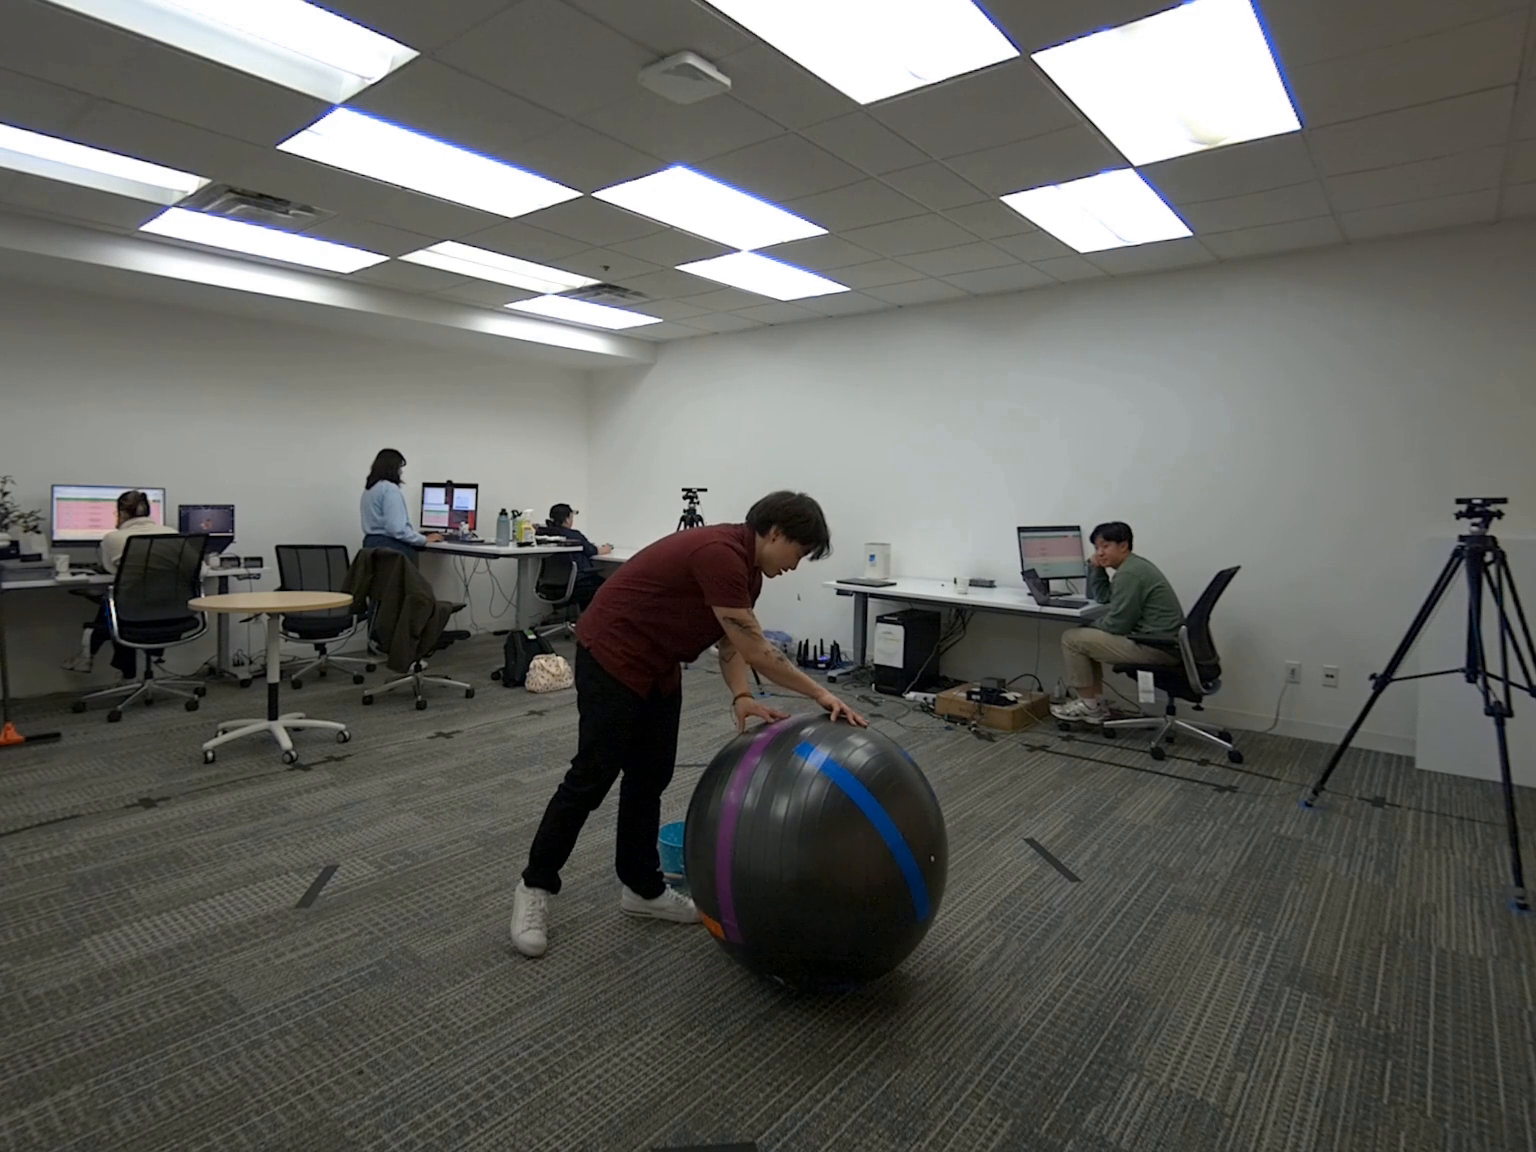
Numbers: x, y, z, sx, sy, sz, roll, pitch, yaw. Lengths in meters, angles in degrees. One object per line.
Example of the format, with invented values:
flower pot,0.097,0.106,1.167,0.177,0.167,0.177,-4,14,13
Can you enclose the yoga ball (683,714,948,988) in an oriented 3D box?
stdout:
yoga ball,0.127,0.785,2.465,0.757,0.755,0.762,1,4,-2
